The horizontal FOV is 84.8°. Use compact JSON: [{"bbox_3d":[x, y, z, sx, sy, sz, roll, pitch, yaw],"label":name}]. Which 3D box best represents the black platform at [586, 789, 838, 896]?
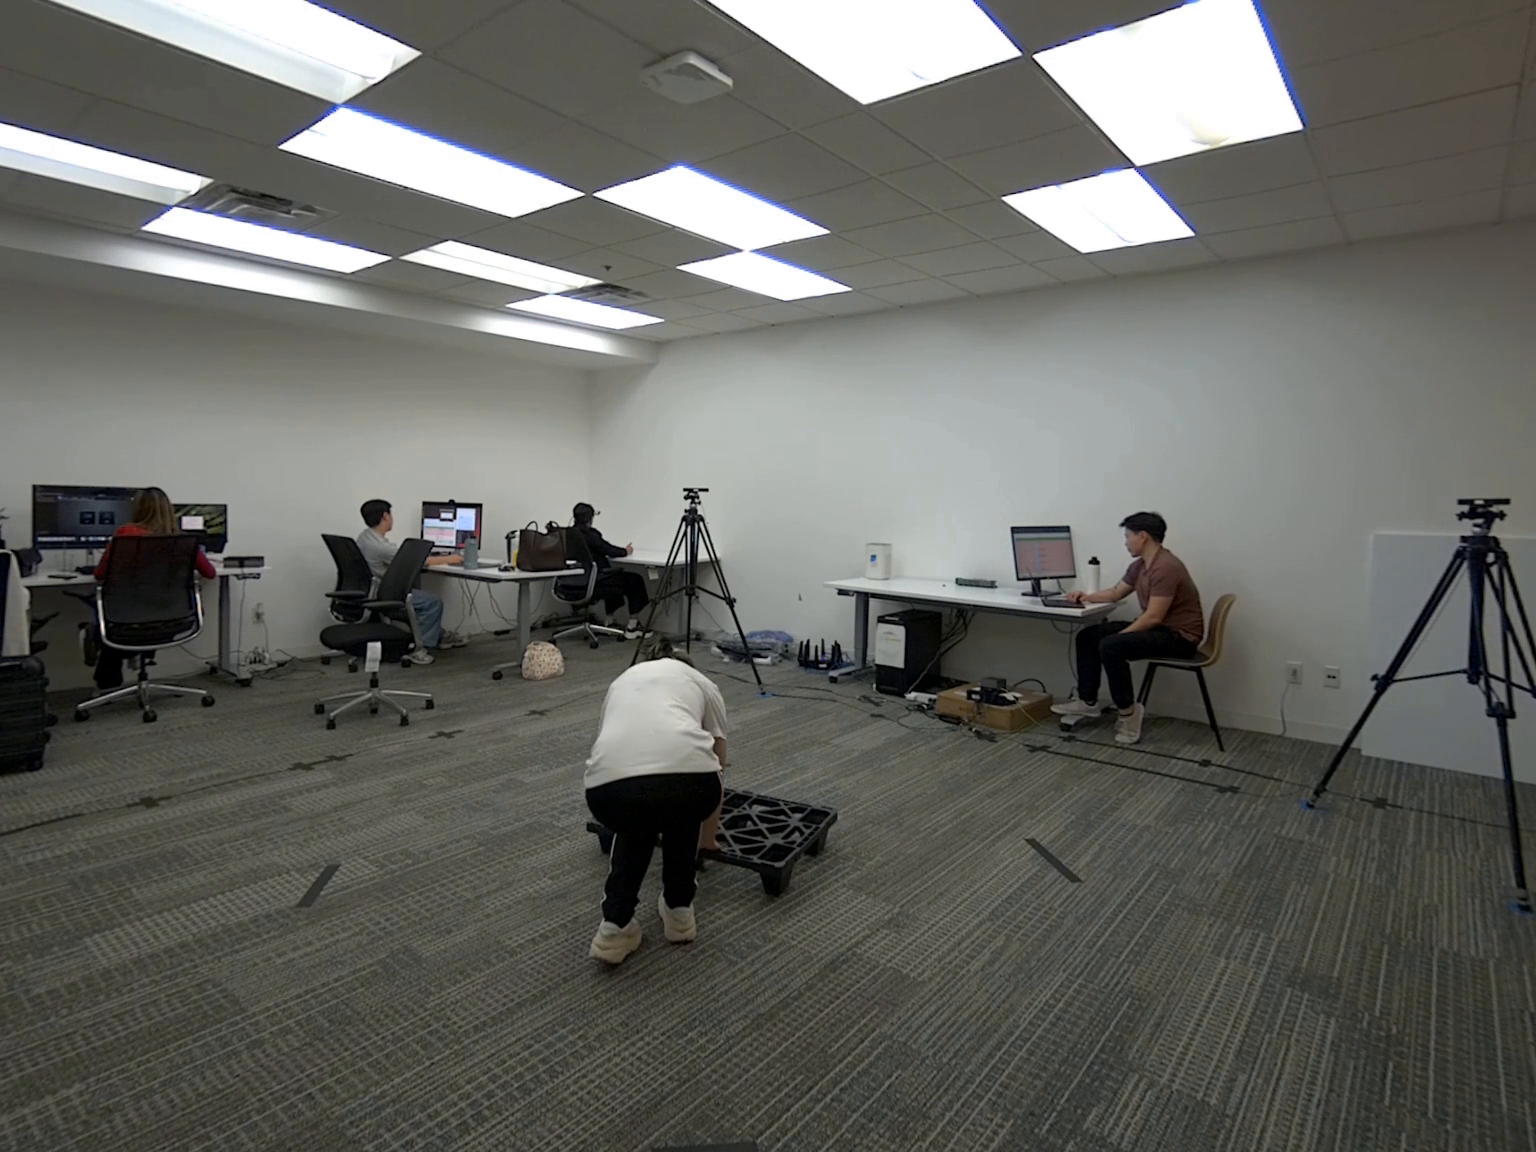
[{"bbox_3d":[-0.209,0.985,3.272,0.827,0.143,0.592,3,6,25],"label":"black platform"}]
